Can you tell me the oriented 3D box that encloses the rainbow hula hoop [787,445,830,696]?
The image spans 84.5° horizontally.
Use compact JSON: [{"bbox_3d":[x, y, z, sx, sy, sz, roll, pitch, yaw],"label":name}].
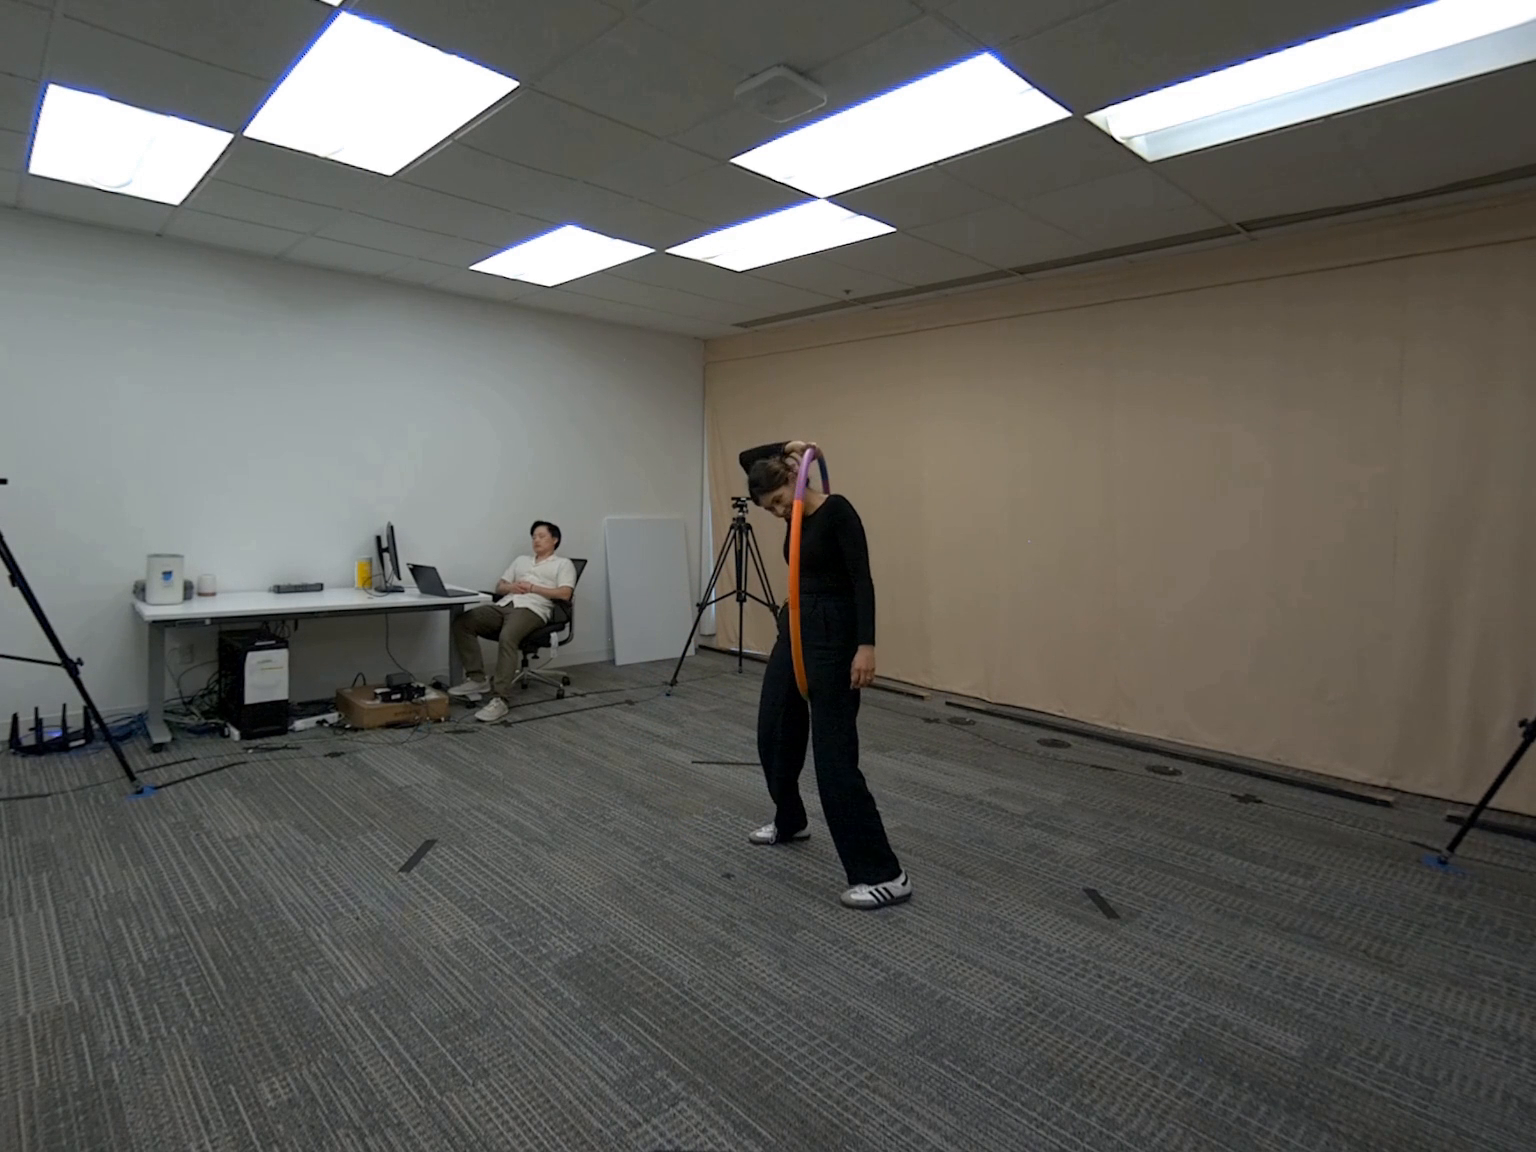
[{"bbox_3d":[0.175,-0.009,3.258,0.036,0.976,0.971,1,4,11],"label":"rainbow hula hoop"}]
